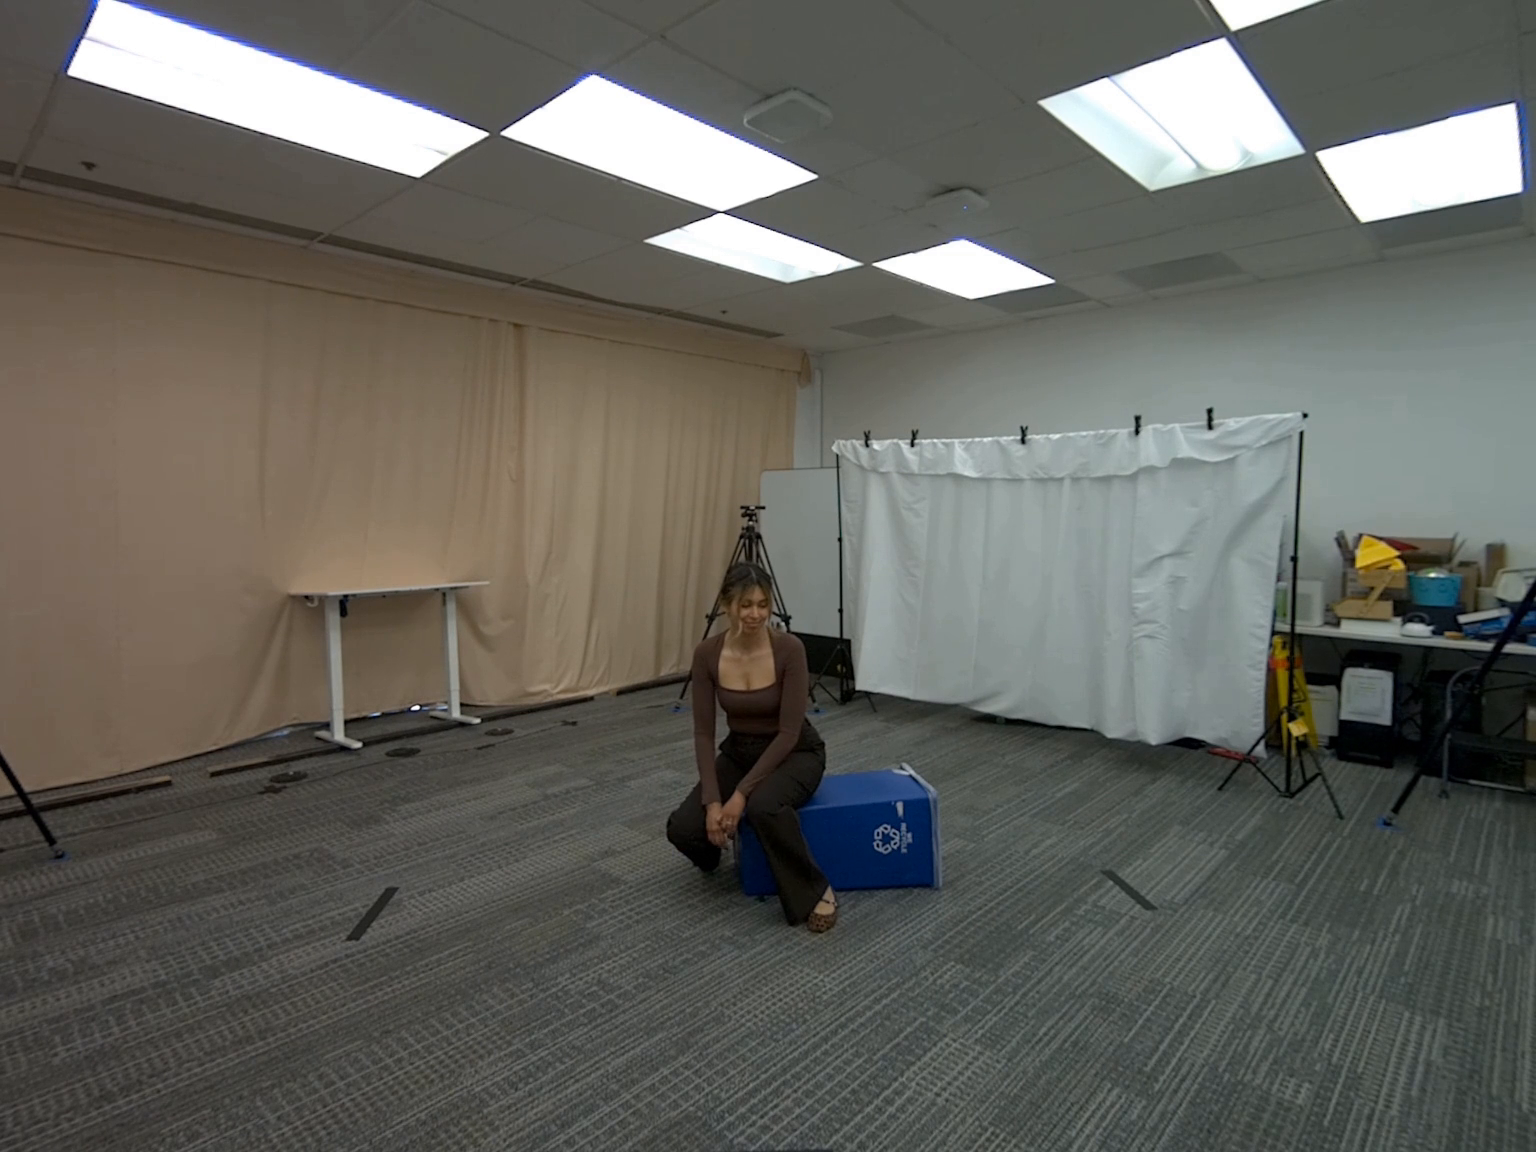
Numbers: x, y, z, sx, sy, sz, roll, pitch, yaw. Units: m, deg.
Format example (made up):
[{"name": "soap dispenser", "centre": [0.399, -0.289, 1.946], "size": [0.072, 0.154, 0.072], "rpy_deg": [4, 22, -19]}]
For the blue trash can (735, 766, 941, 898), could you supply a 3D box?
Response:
[{"name": "blue trash can", "centre": [0.248, 0.961, 3.157], "size": [0.708, 0.377, 0.378], "rpy_deg": [-4, 5, -8]}]
